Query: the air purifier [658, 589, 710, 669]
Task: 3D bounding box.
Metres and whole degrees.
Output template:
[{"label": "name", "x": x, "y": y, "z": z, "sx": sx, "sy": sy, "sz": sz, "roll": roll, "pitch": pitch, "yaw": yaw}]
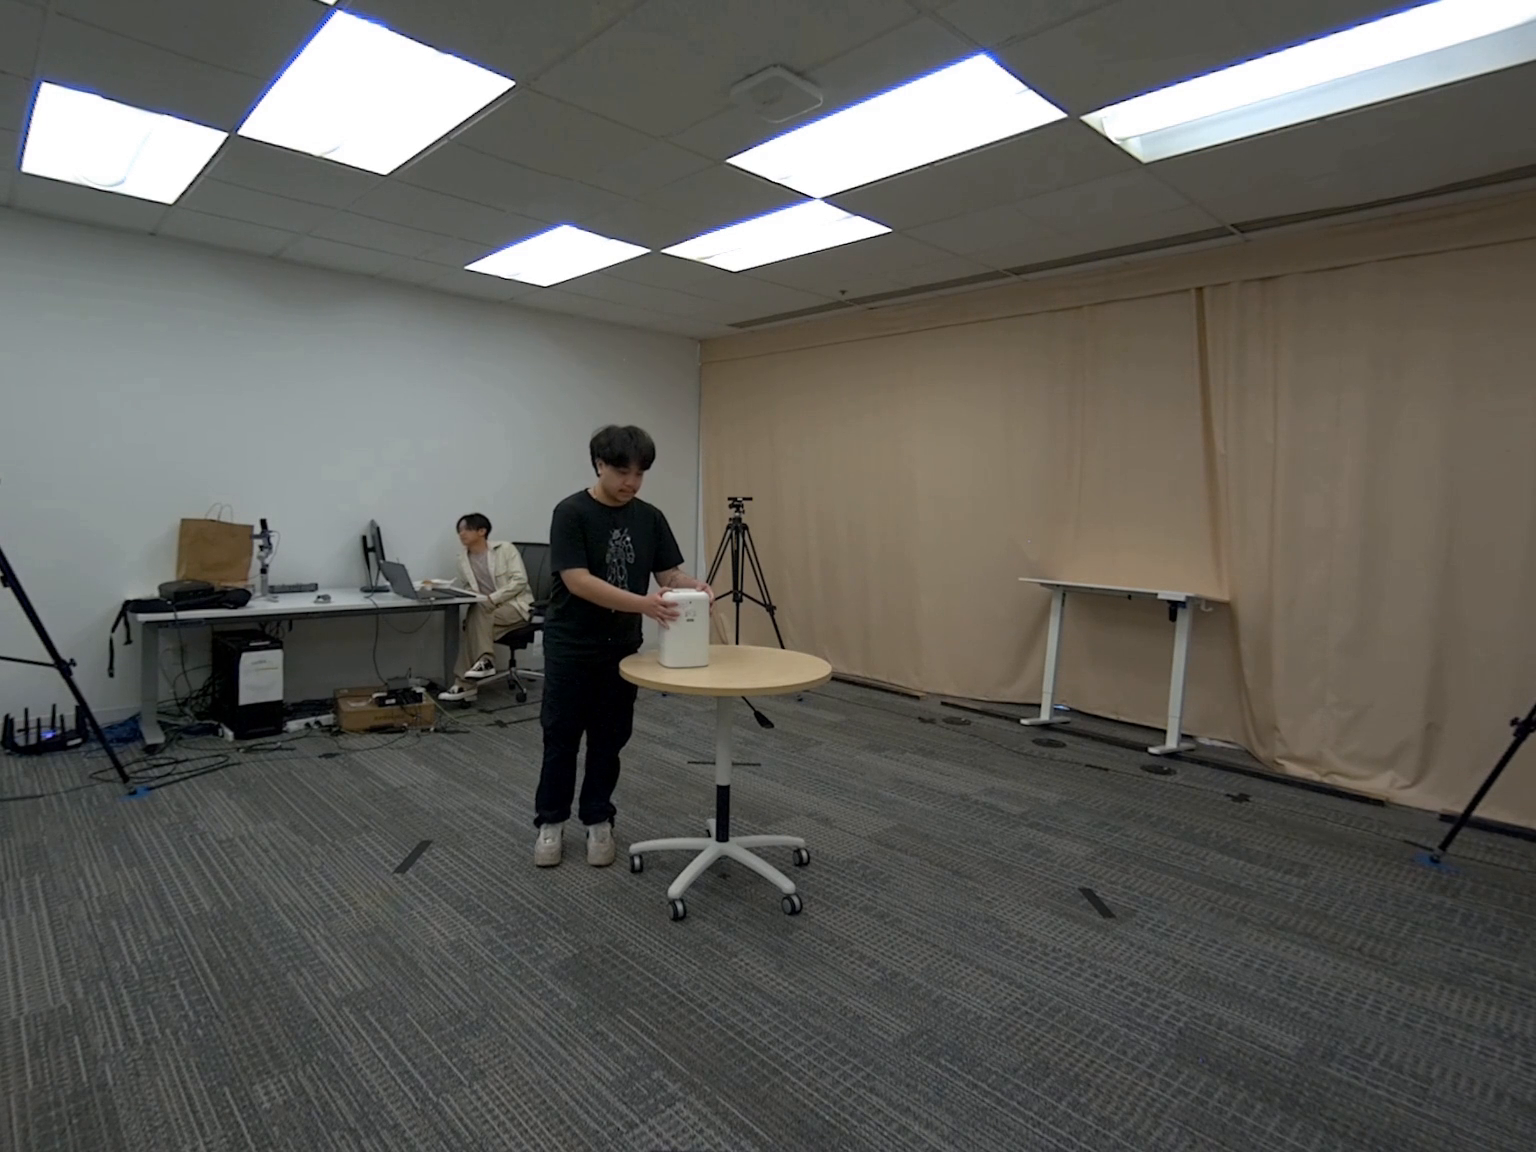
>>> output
[{"label": "air purifier", "x": -0.314, "y": 0.185, "z": 3.034, "sx": 0.169, "sy": 0.265, "sz": 0.174, "roll": -1, "pitch": 2, "yaw": -18}]
